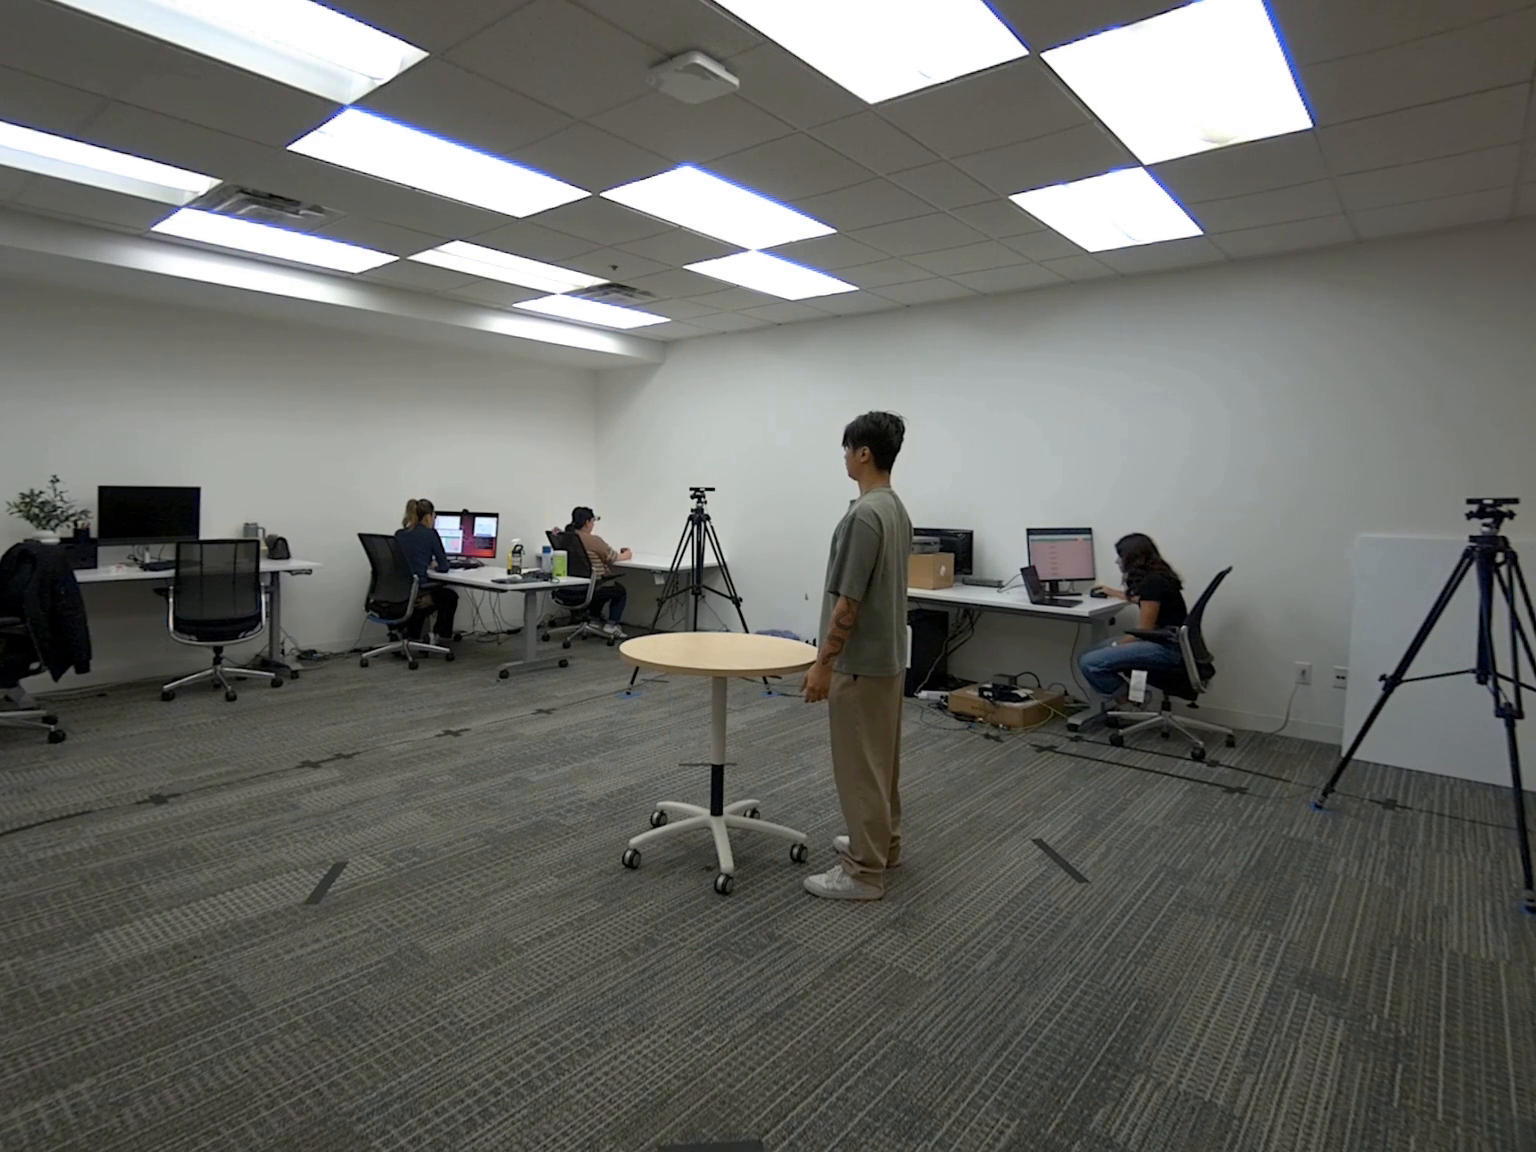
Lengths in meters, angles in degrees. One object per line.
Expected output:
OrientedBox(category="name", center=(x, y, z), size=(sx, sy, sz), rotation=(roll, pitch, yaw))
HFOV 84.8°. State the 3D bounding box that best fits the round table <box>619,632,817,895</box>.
OrientedBox(category="round table", center=(-0.207, 0.664, 3.239), size=(0.784, 0.784, 0.789), rotation=(1, 4, -2))
